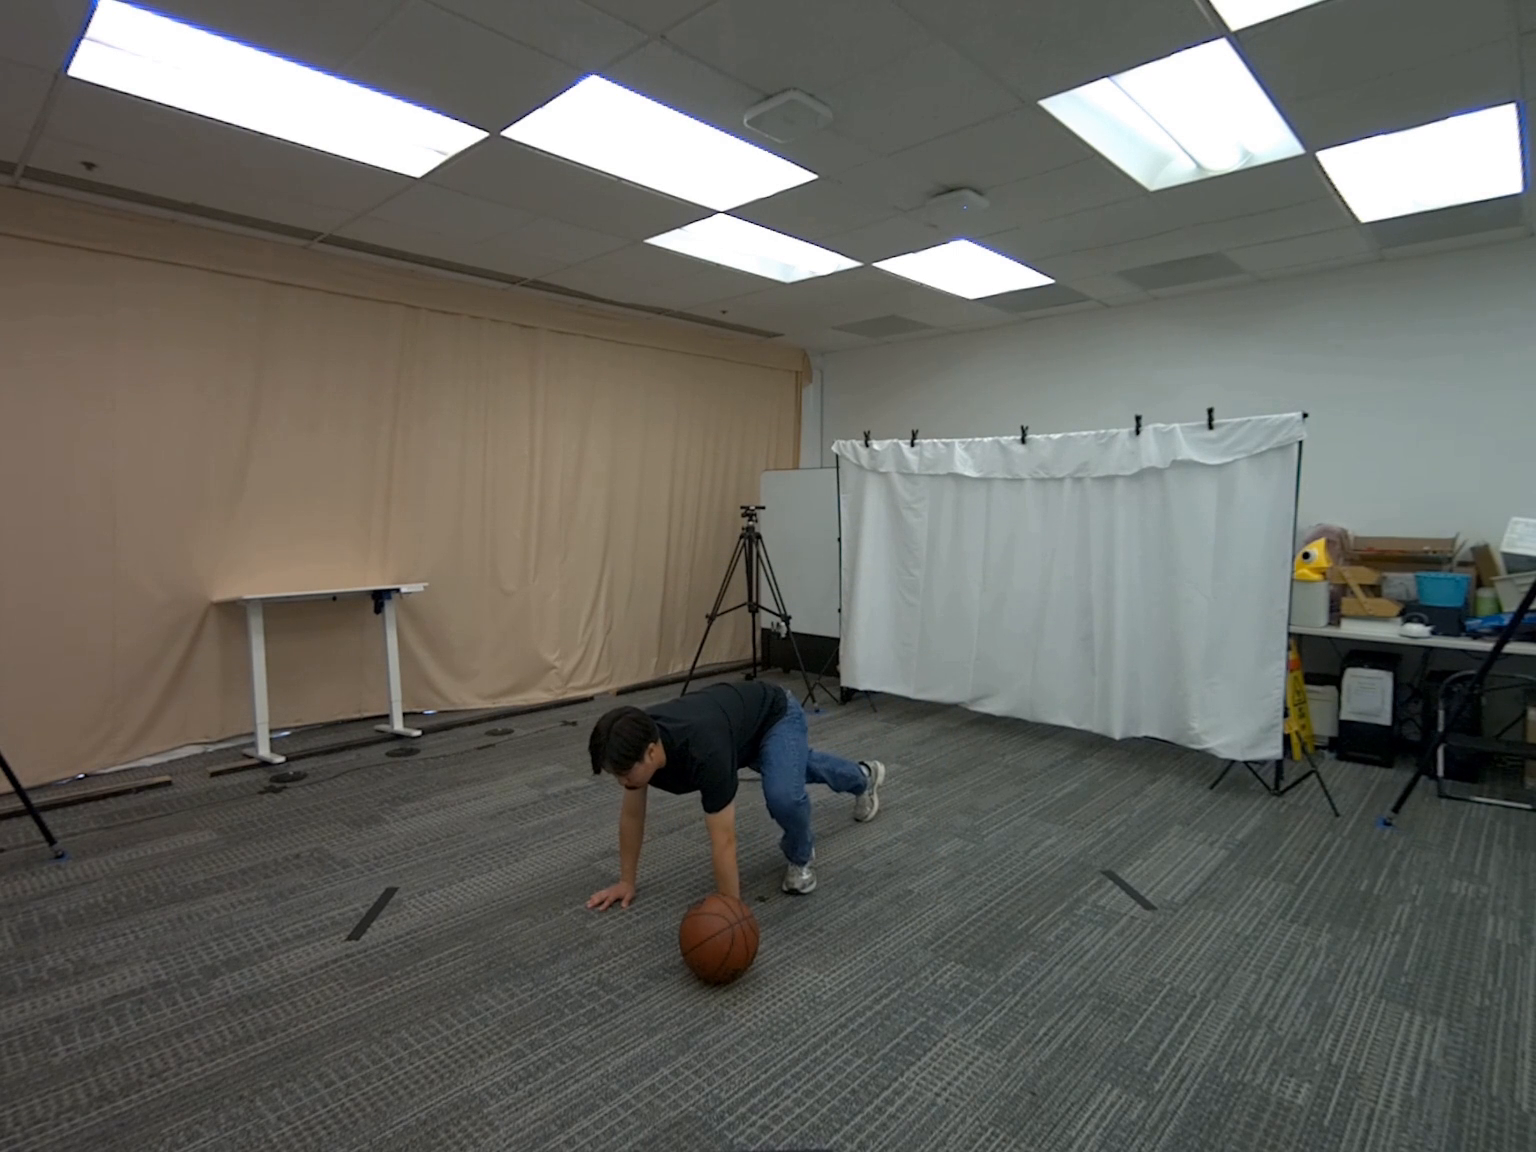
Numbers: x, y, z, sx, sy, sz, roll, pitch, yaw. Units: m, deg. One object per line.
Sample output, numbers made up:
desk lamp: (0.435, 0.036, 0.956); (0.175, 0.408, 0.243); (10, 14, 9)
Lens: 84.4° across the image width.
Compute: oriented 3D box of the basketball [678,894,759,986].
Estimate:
basketball: (-0.150, 1.058, 2.486); (0.236, 0.235, 0.237); (0, 4, -2)
